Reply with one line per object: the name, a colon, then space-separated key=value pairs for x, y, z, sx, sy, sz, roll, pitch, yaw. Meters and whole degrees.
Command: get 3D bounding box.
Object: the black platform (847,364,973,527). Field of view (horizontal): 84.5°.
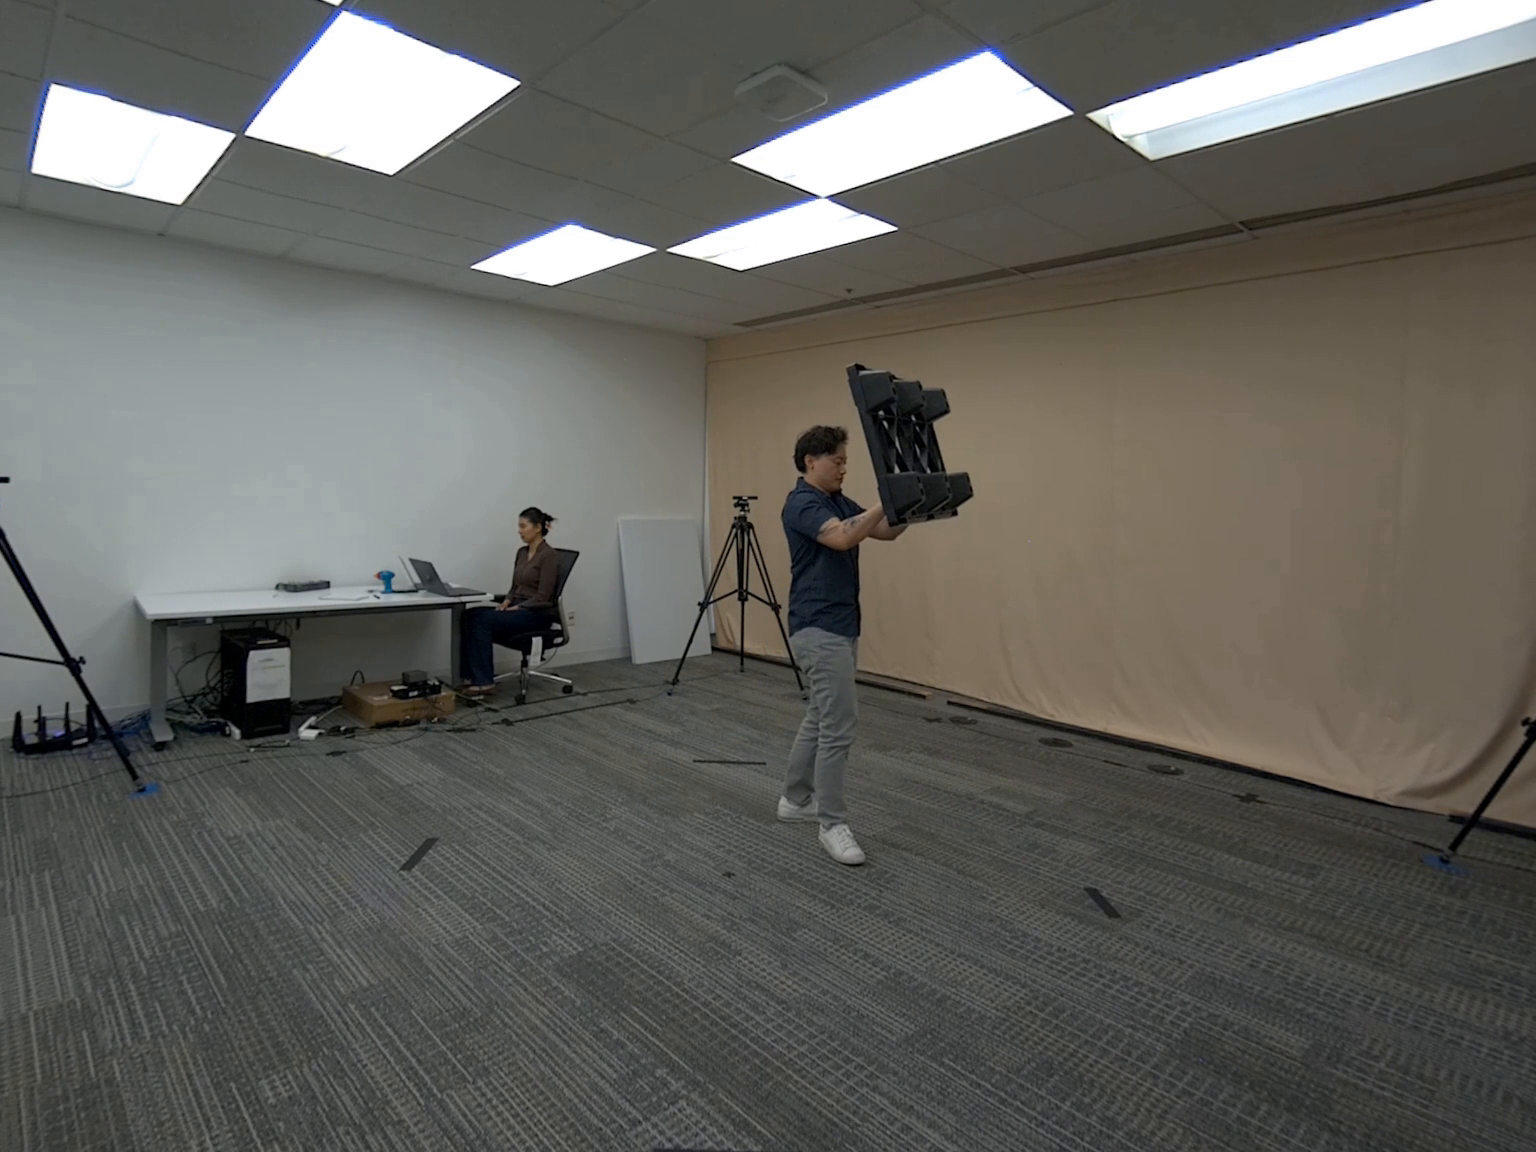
black platform: x=0.577 y=-0.516 z=3.287 sx=0.145 sy=0.607 sz=0.792 roll=-15 pitch=-2 yaw=28
